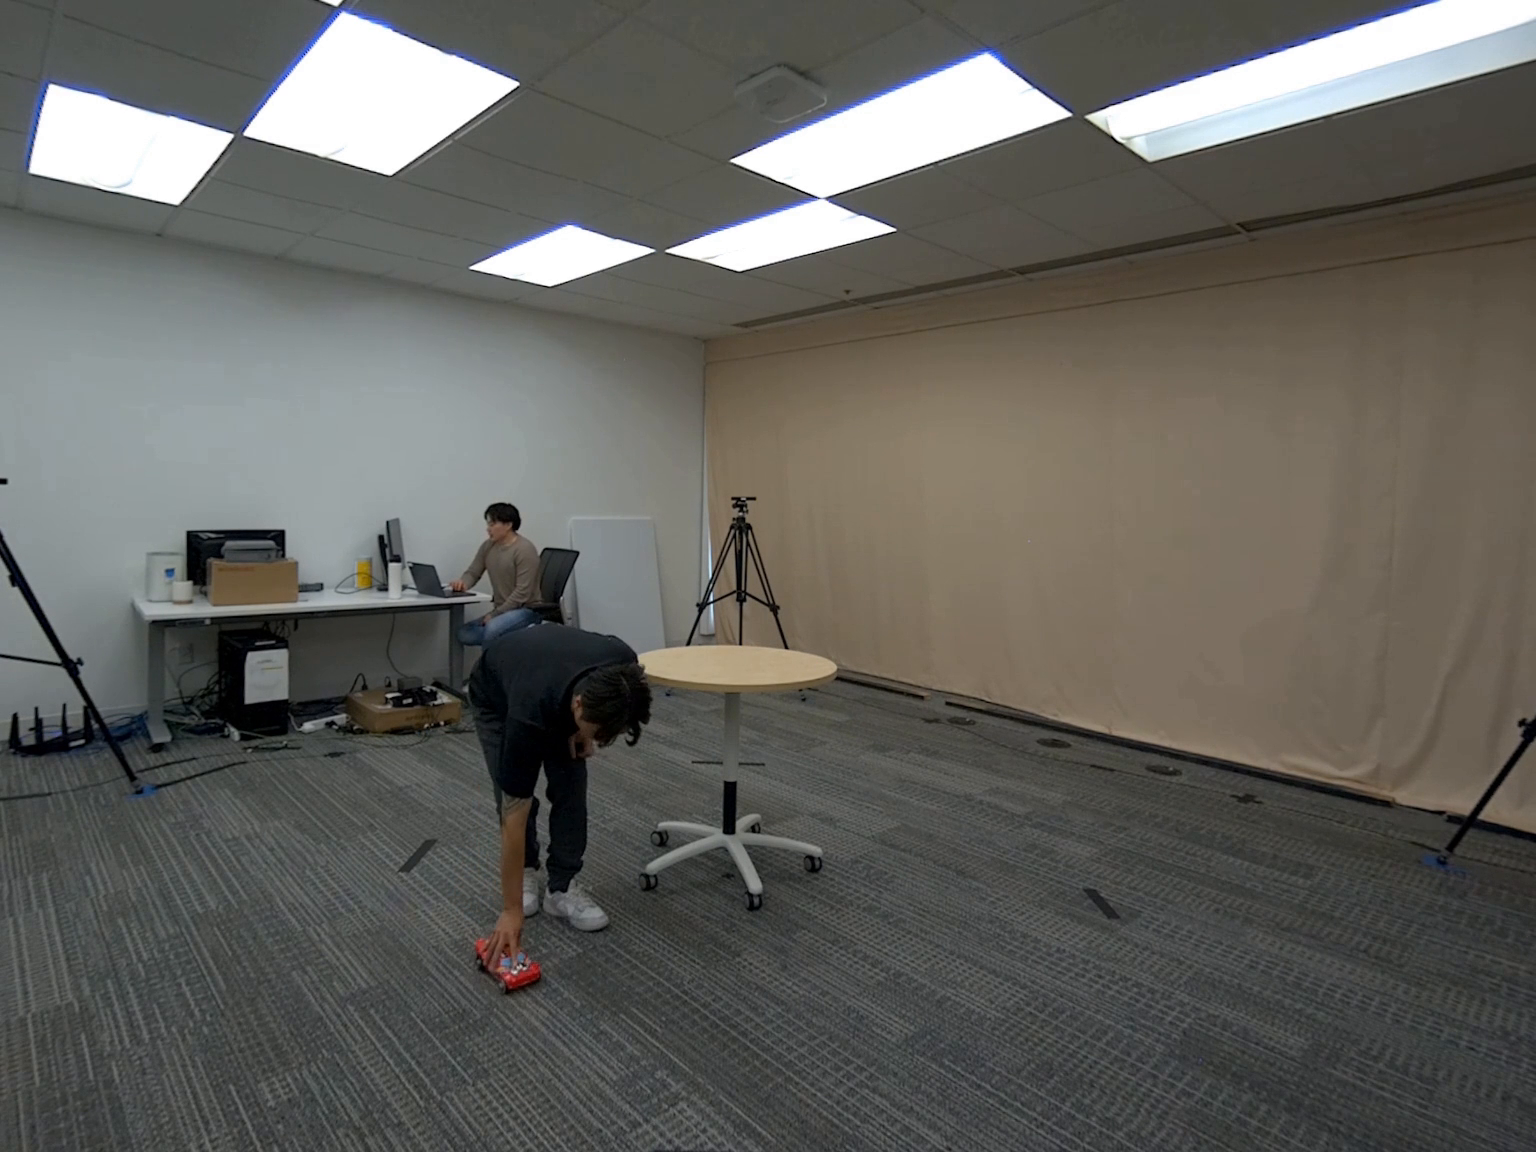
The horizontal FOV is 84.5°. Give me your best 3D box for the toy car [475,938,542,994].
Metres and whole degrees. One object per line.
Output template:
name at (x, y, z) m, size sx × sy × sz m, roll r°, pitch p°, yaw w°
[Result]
toy car at (-0.780, 1.131, 2.442) m, size 0.127 × 0.082 × 0.262 m, roll -5°, pitch 18°, yaw -40°
